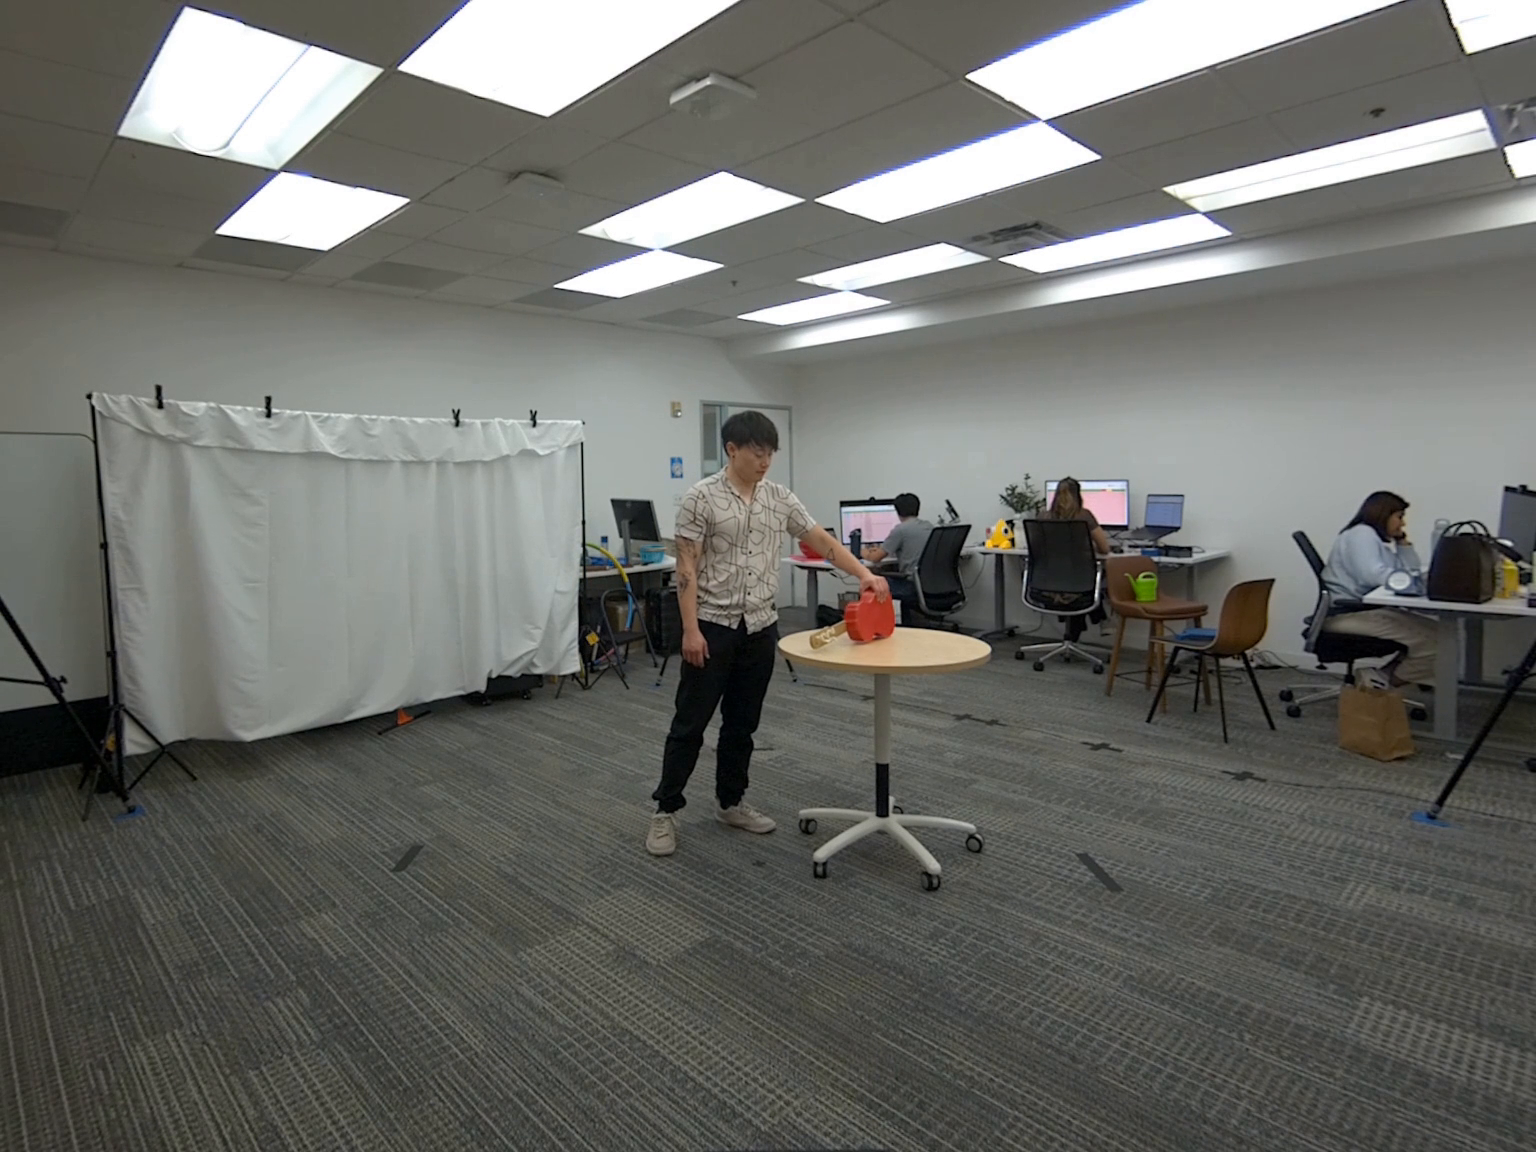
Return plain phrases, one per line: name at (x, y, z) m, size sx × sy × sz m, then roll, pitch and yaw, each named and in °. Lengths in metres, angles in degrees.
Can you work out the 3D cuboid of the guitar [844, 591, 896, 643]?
guitar at (0.318, 0.200, 3.152) m, size 0.072 × 0.190 × 0.493 m, roll -4°, pitch 19°, yaw 36°
